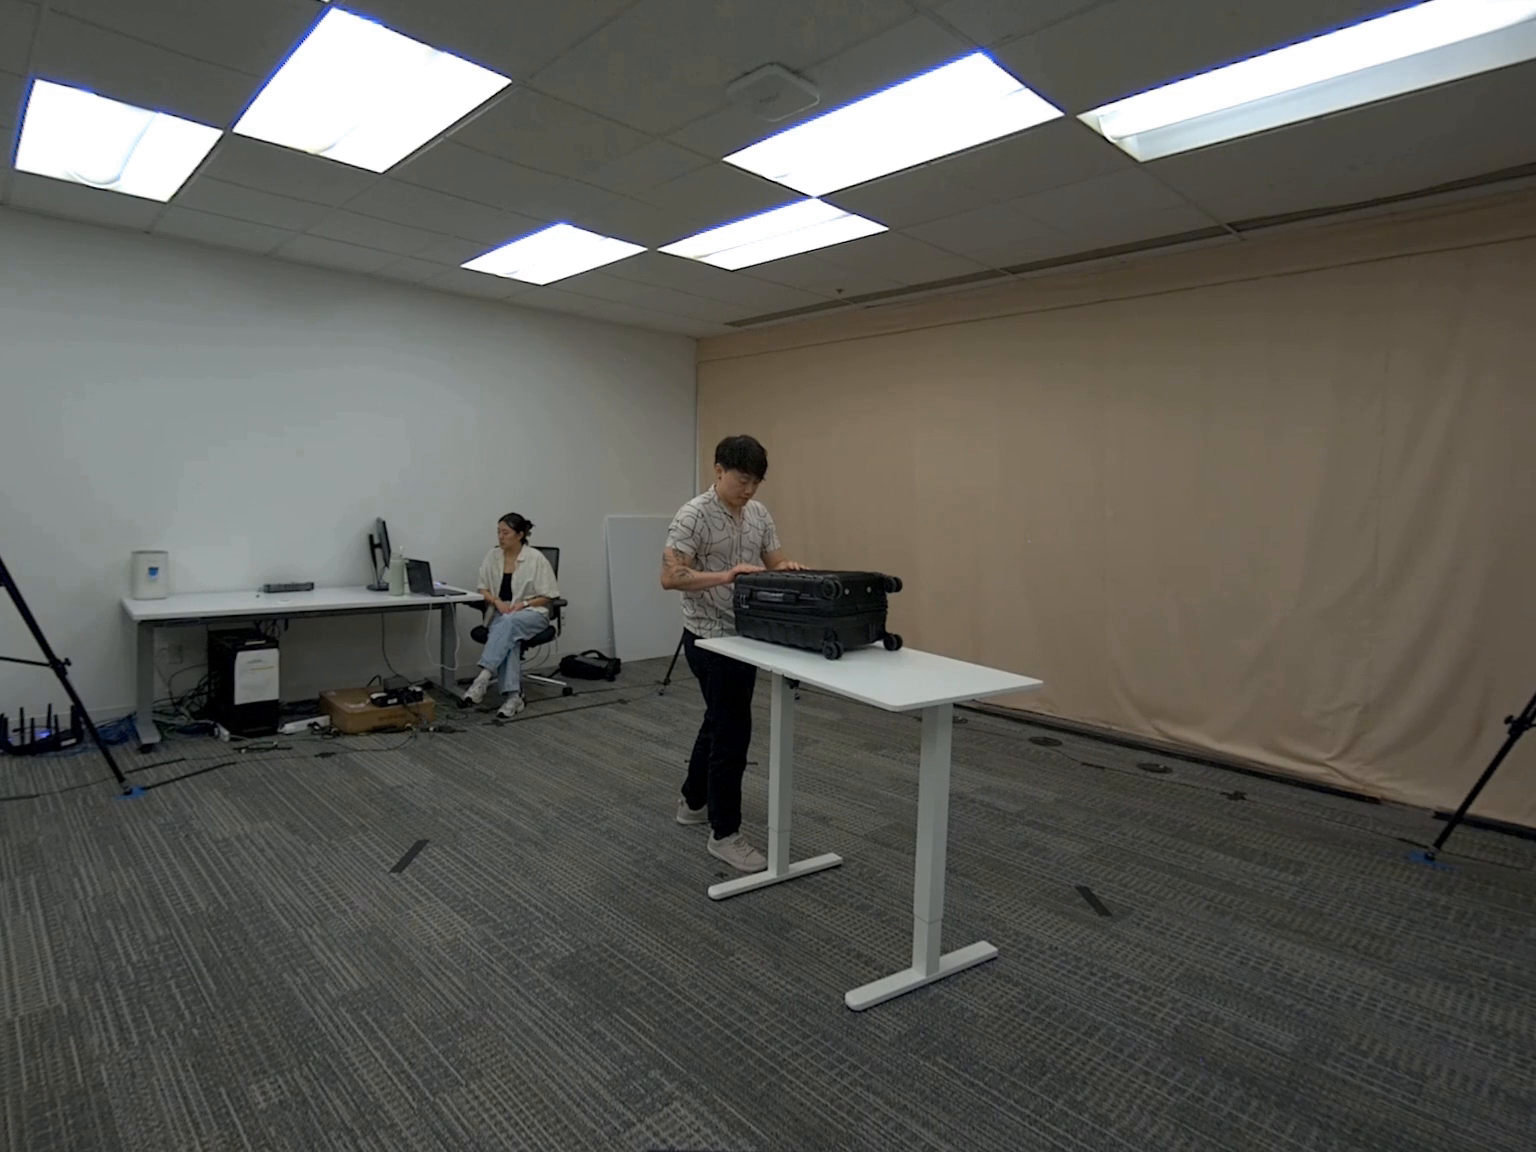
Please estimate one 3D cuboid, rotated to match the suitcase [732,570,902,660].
[{"bbox_3d":[0.139,0.109,2.970,0.367,0.248,0.563,-1,4,-40],"label":"suitcase"}]
